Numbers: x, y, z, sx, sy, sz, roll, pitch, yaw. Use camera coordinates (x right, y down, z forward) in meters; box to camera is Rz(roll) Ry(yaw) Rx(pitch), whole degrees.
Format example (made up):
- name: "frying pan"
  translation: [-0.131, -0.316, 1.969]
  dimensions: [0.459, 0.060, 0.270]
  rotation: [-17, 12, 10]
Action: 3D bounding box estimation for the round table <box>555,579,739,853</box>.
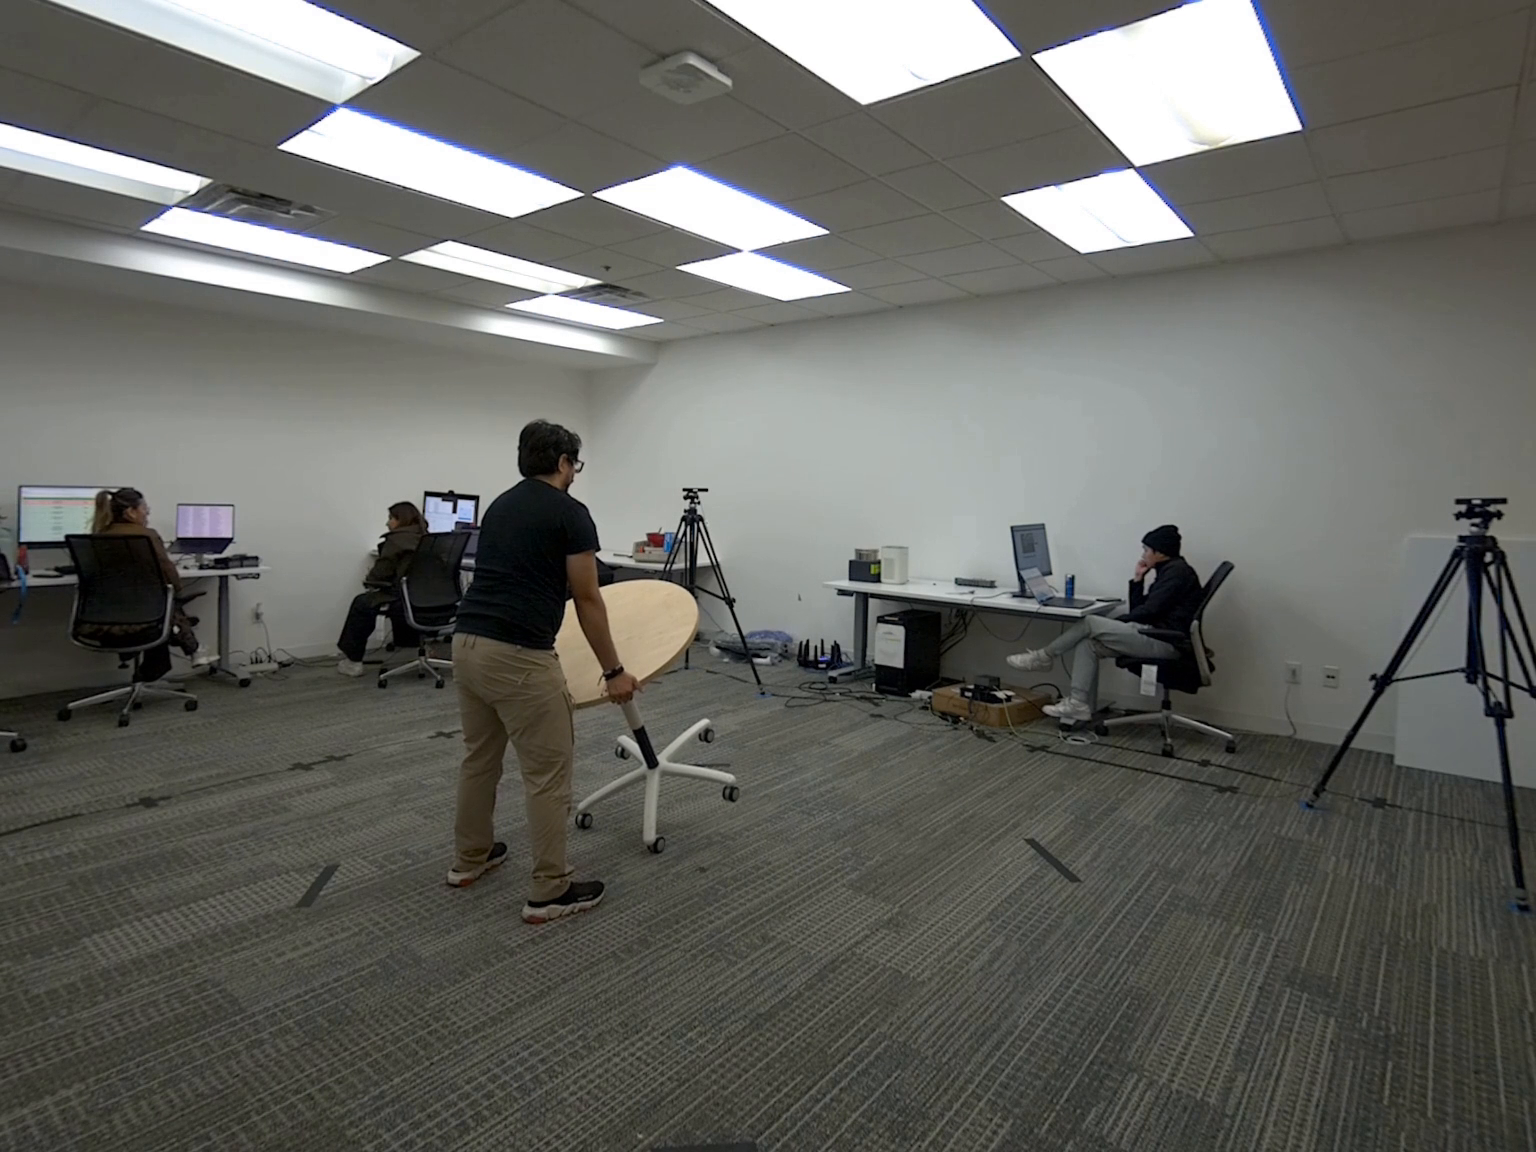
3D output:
- name: "round table"
  translation: [-0.550, 0.564, 3.358]
  dimensions: [0.789, 0.763, 0.805]
  rotation: [-14, 28, 6]
